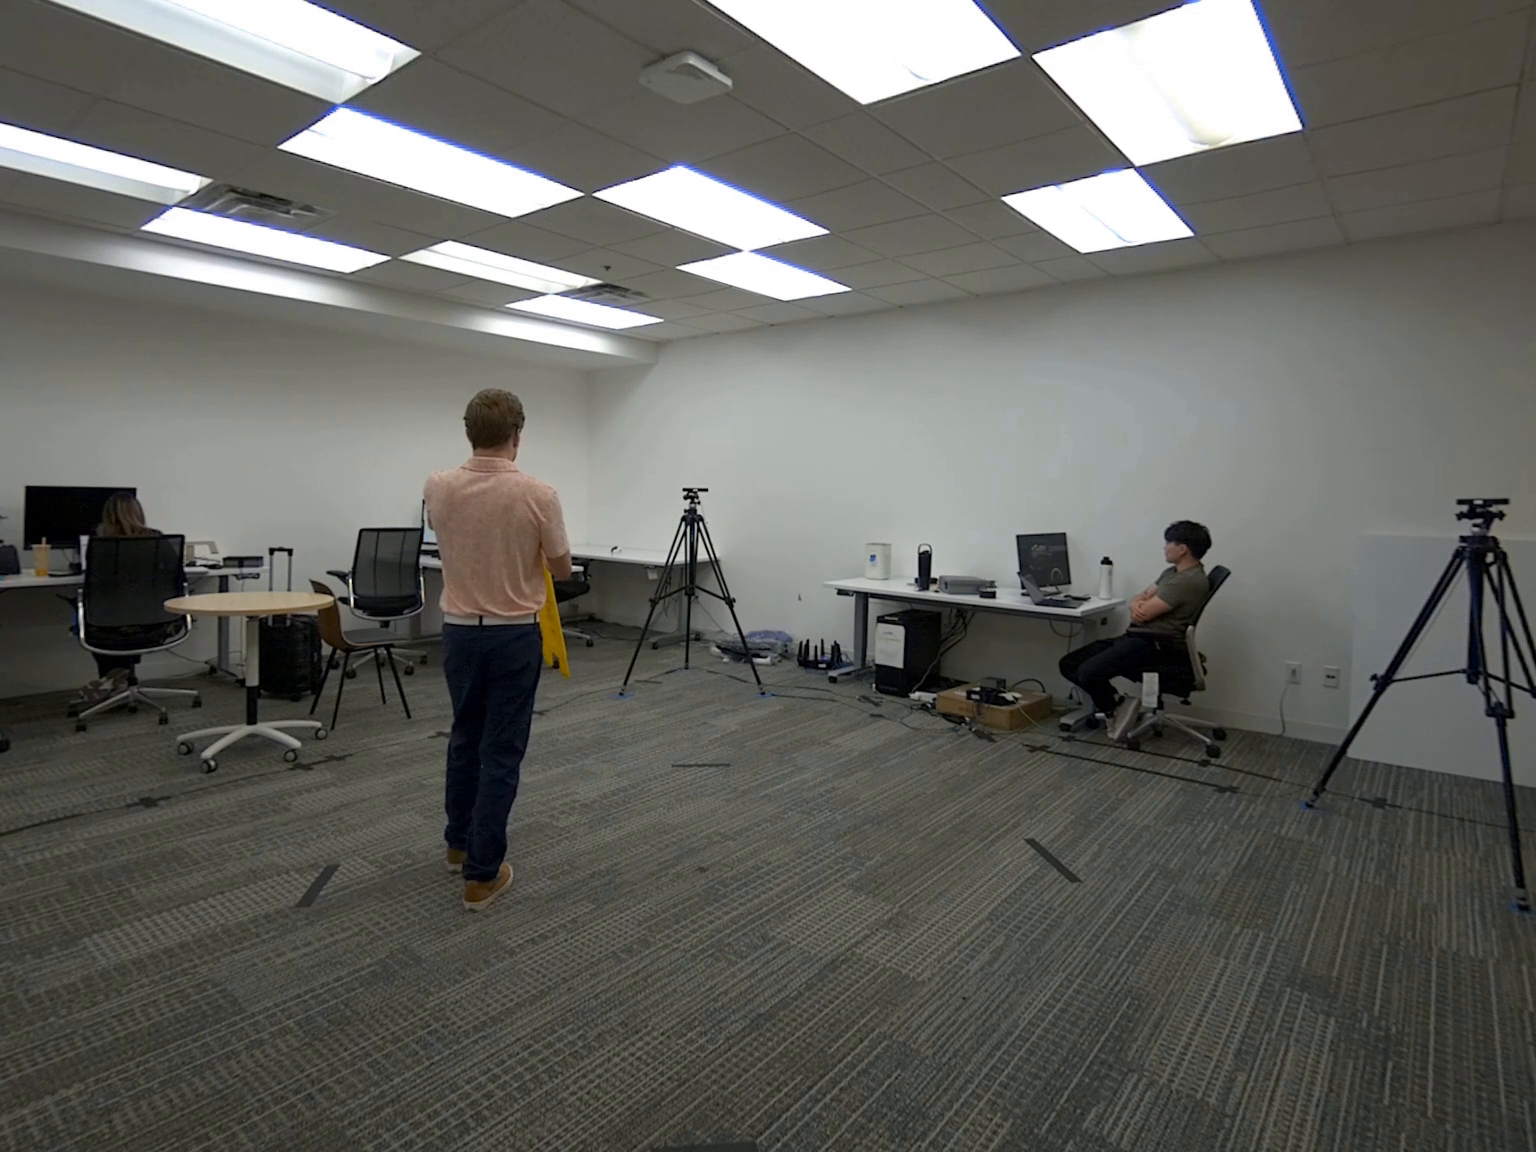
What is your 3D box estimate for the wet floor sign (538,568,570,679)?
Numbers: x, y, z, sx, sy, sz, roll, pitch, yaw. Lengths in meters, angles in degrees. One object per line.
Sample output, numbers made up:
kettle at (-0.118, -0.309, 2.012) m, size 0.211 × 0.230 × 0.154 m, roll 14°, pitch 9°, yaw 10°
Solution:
wet floor sign at (-0.942, 0.062, 3.296) m, size 0.282 × 0.642 × 0.291 m, roll -2°, pitch 8°, yaw -30°
